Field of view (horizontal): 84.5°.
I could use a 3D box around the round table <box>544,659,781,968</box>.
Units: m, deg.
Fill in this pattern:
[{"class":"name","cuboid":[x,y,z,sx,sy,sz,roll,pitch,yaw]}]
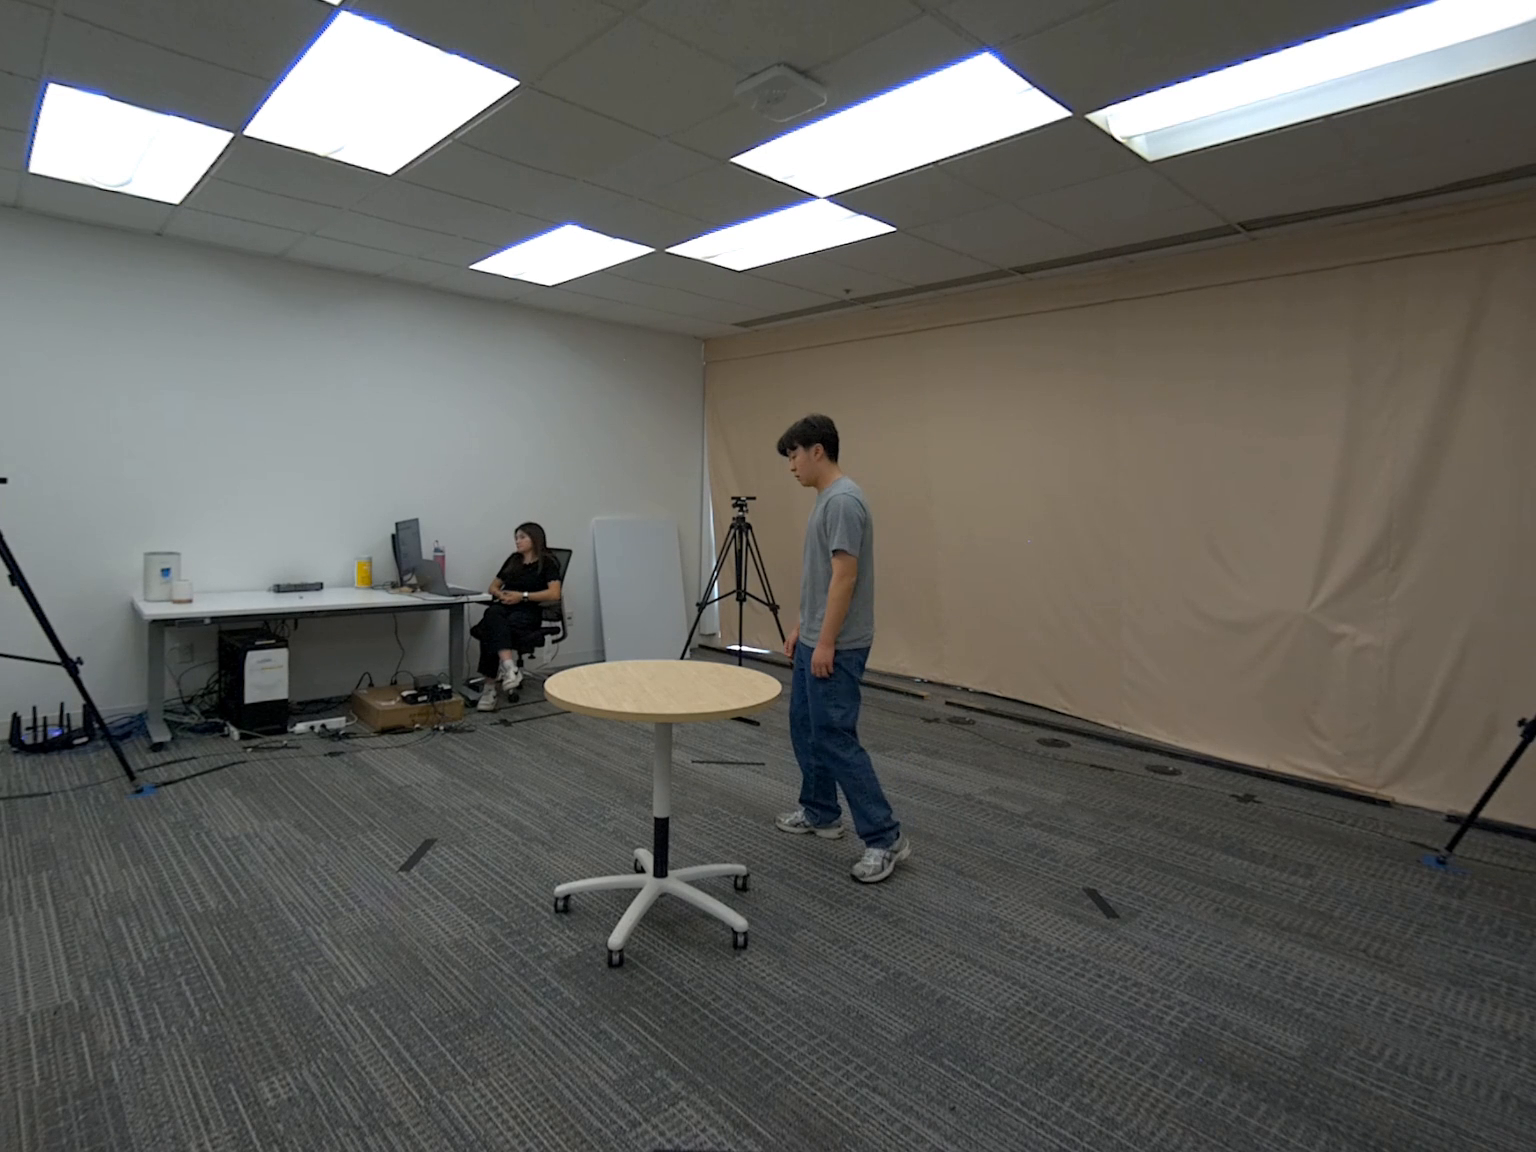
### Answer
[{"class":"round table","cuboid":[-0.351,0.744,2.762,0.763,0.792,0.767,1,4,-1]}]
